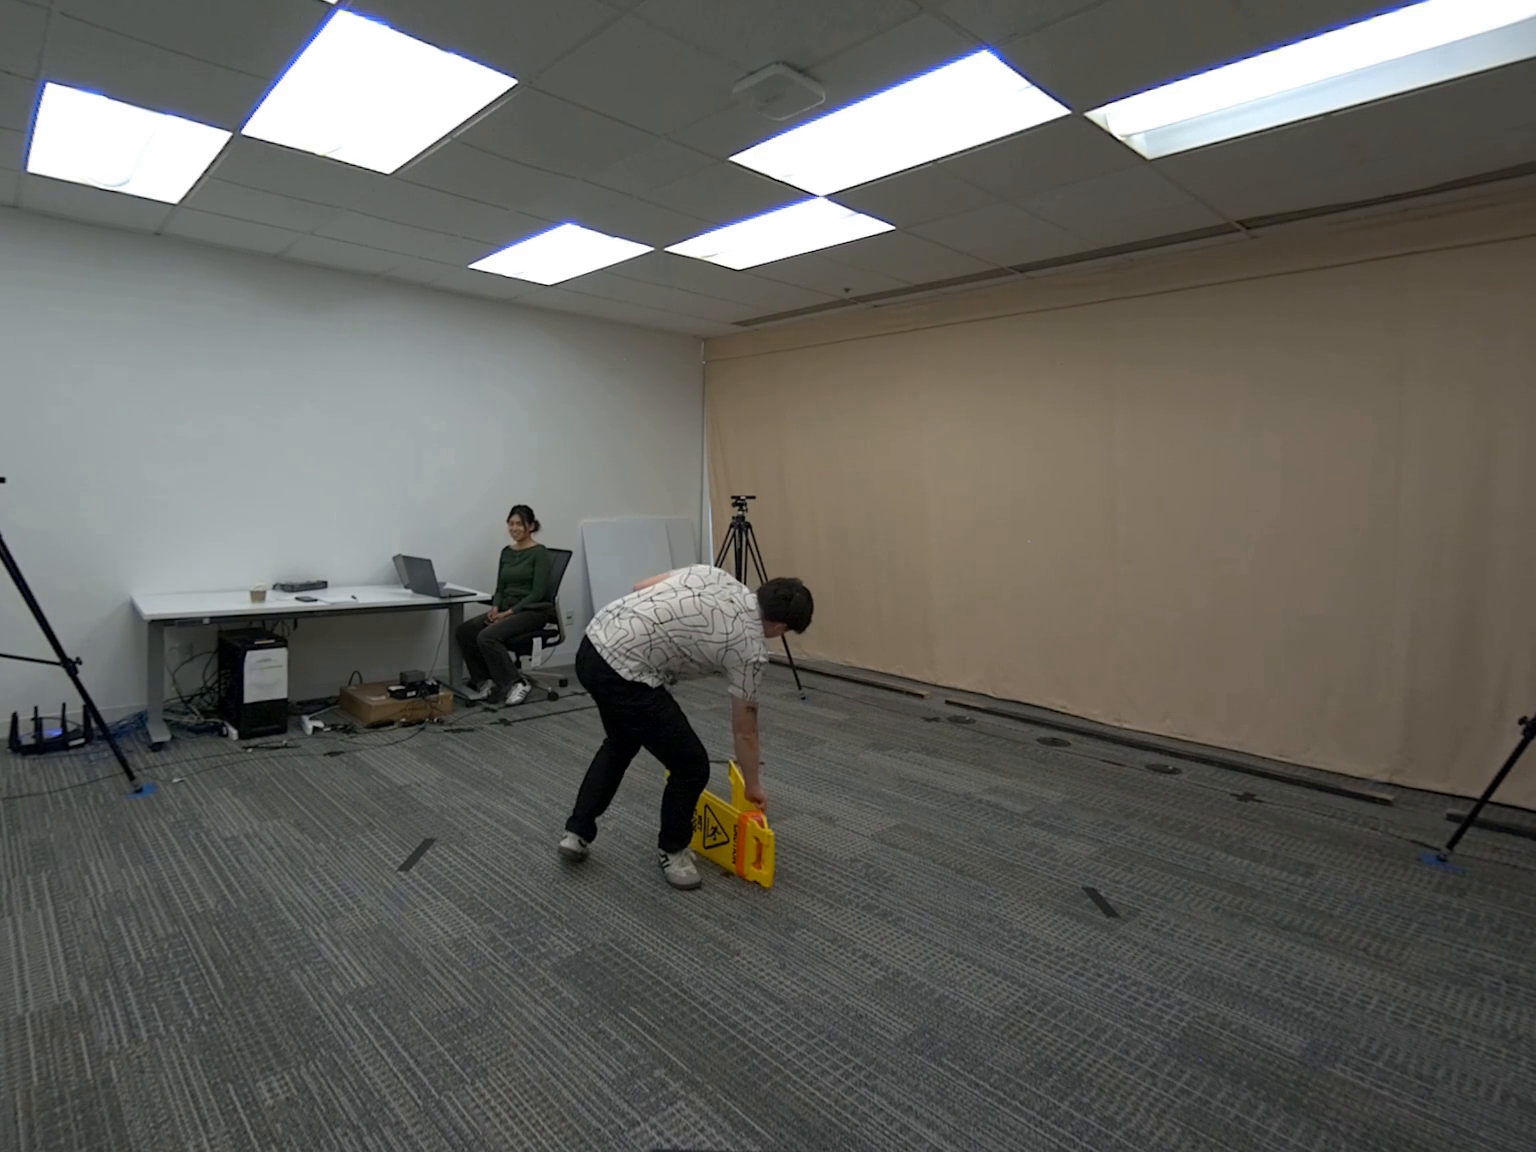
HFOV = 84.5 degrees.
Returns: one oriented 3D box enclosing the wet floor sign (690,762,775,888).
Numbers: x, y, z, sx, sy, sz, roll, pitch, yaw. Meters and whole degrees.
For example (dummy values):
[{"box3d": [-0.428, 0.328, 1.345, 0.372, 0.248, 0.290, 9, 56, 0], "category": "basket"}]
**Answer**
[{"box3d": [-0.146, 0.958, 3.238, 0.284, 0.281, 0.661, 0, 6, -28], "category": "wet floor sign"}]
